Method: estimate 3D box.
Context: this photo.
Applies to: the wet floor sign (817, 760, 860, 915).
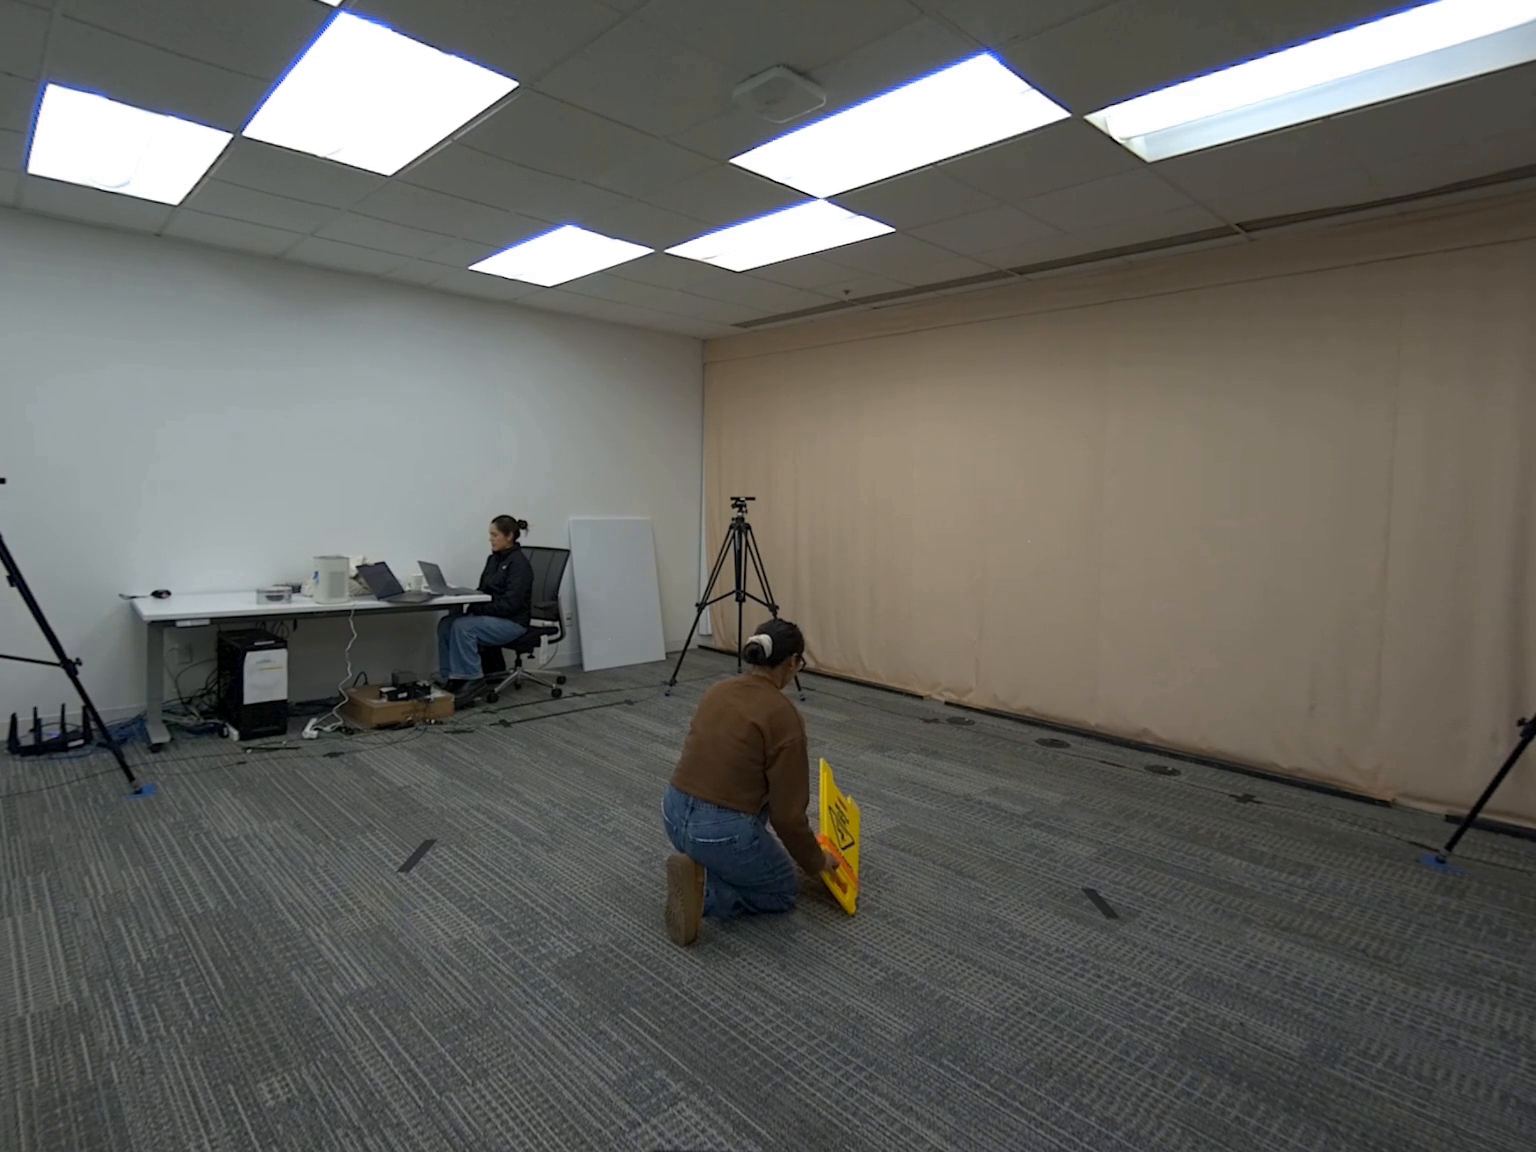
[{"bbox_3d":[0.199,0.981,3.099,0.290,0.279,0.652,-35,12,4],"label":"wet floor sign"}]
